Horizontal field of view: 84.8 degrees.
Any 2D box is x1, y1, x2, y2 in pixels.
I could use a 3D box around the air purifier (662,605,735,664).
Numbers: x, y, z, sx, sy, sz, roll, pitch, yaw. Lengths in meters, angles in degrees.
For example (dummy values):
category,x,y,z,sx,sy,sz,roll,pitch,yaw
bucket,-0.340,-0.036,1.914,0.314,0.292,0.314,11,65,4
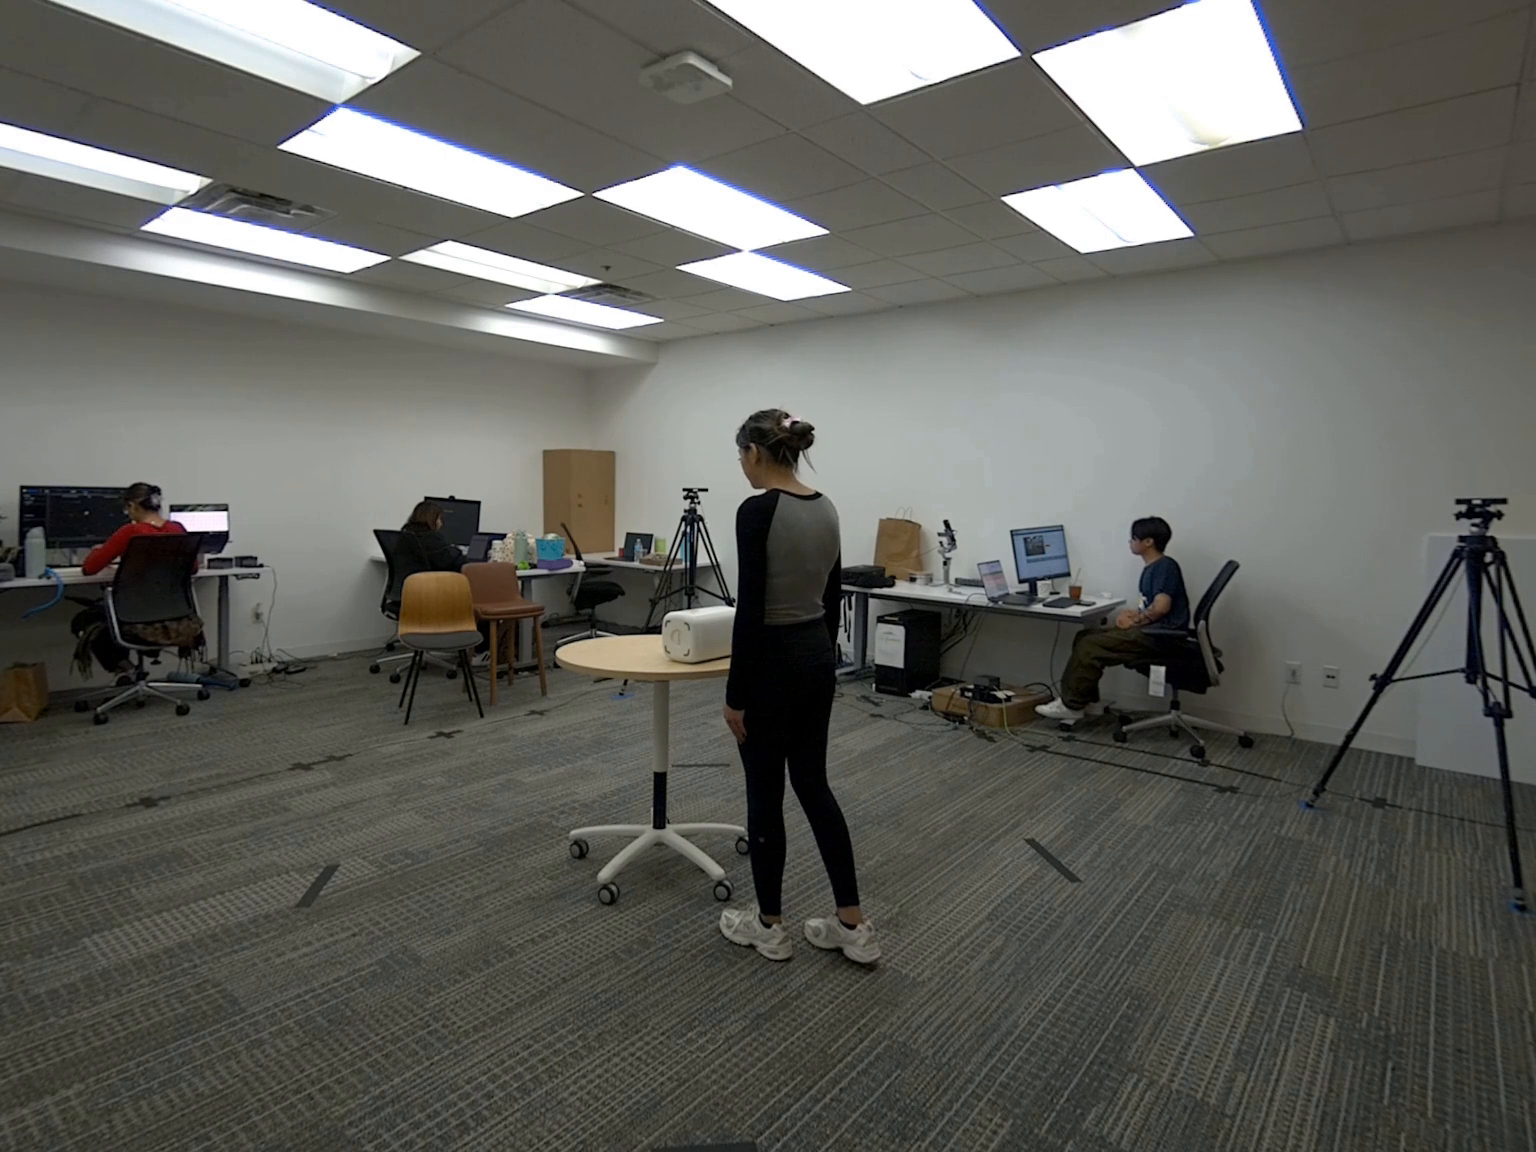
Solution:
category,x,y,z,sx,sy,sz,roll,pitch,yaw
air purifier,-0.239,0.198,2.981,0.177,0.171,0.258,4,5,38
